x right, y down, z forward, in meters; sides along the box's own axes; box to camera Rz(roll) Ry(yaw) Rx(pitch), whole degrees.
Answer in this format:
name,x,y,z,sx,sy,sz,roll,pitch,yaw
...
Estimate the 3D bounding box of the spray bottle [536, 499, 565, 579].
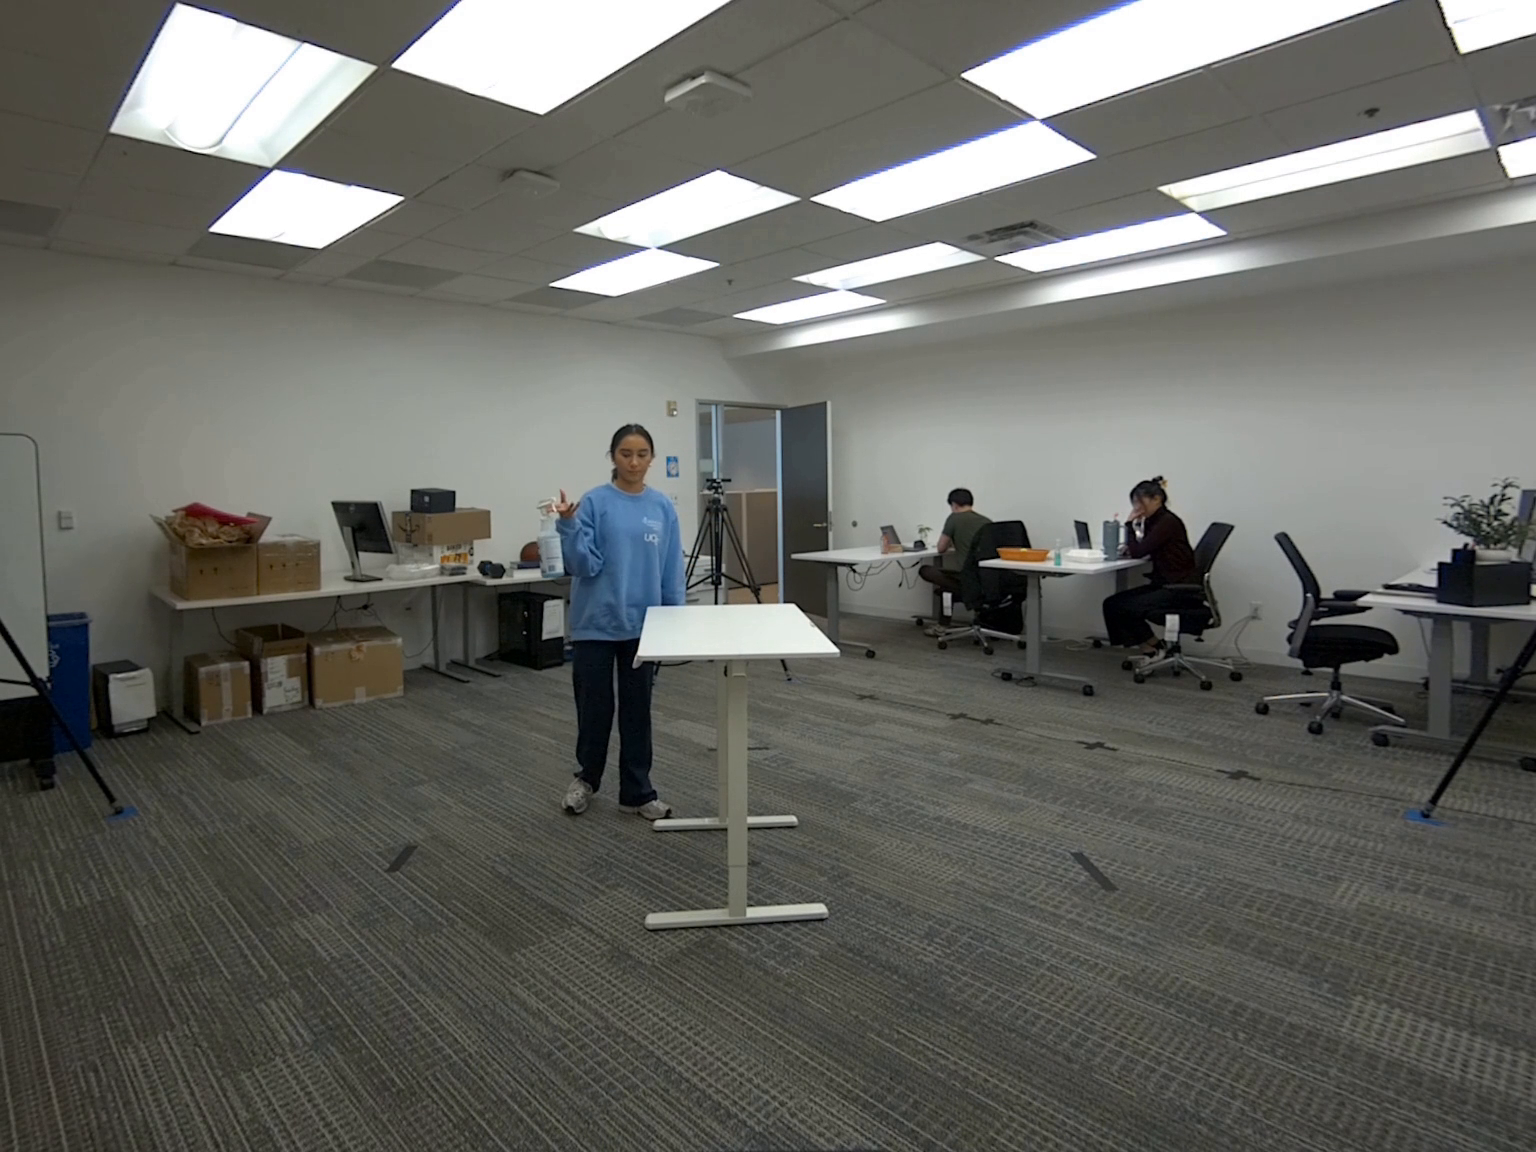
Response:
name,x,y,z,sx,sy,sz,roll,pitch,yaw
spray bottle,-0.828,-0.143,3.229,0.085,0.296,0.092,-7,3,-38
